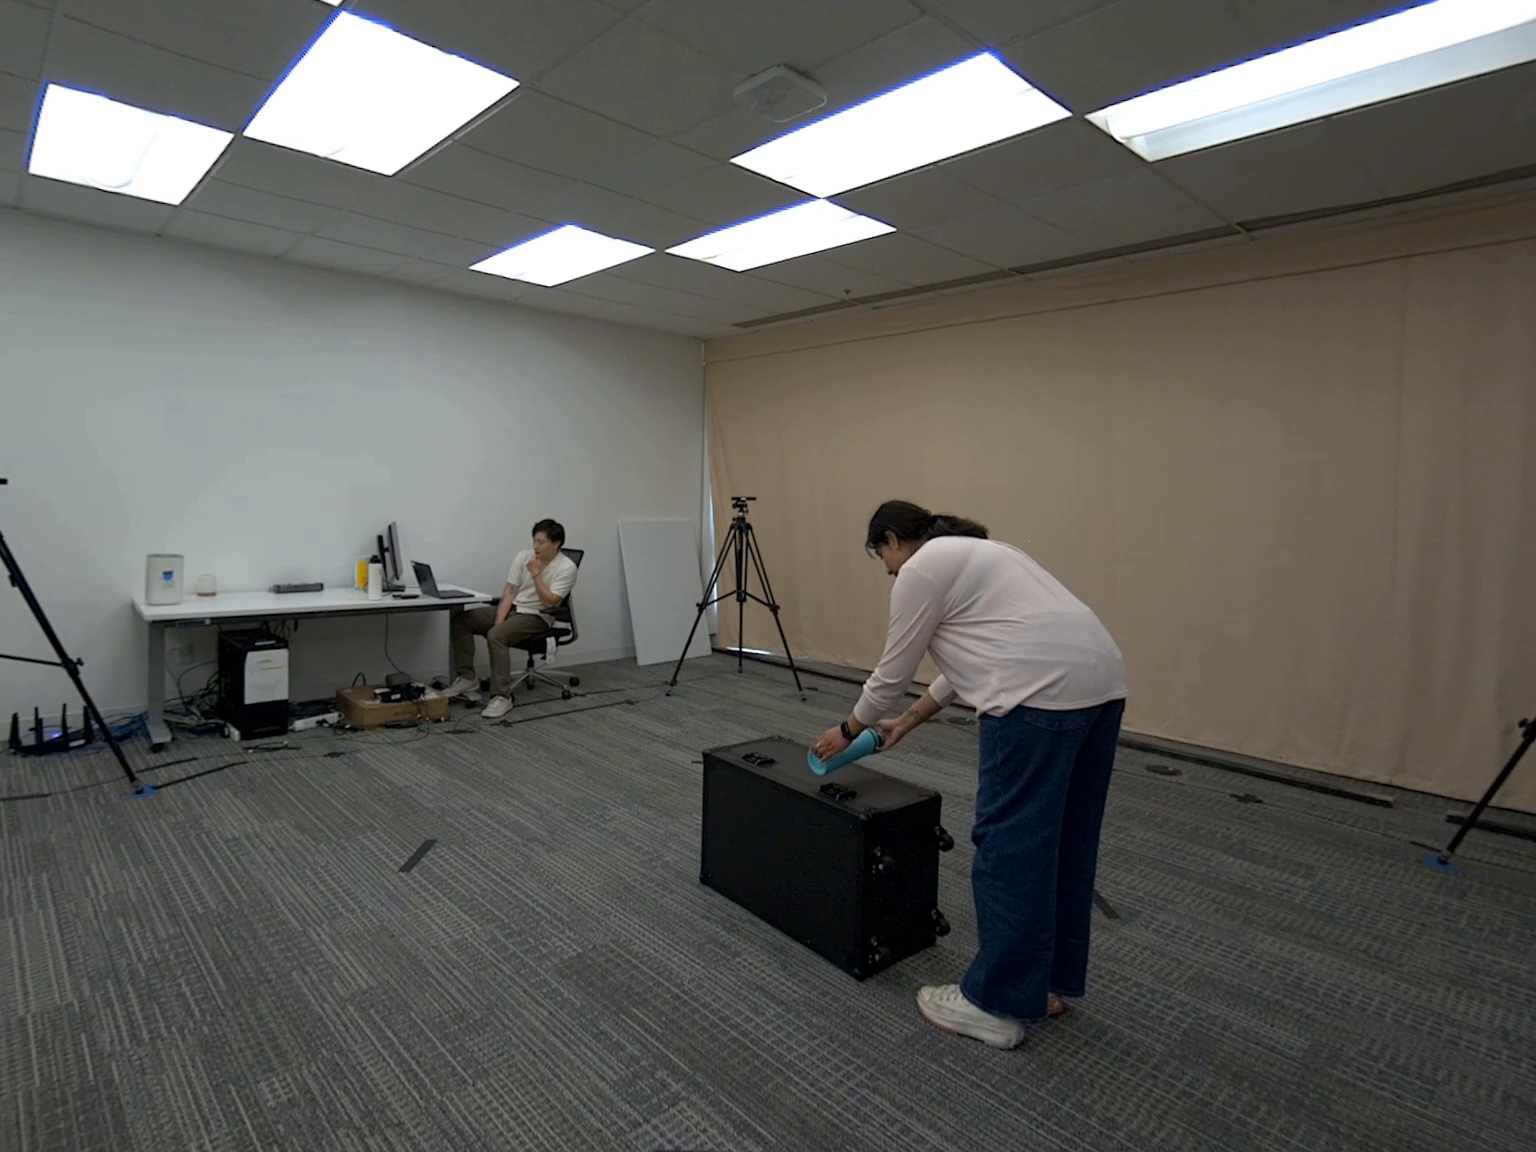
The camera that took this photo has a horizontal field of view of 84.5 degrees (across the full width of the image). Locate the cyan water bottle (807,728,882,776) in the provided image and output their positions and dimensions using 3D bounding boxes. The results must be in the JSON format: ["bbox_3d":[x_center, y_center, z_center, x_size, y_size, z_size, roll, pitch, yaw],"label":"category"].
[{"bbox_3d":[0.255,0.563,2.738,0.278,0.091,0.095,-15,14,-38],"label":"cyan water bottle"}]
